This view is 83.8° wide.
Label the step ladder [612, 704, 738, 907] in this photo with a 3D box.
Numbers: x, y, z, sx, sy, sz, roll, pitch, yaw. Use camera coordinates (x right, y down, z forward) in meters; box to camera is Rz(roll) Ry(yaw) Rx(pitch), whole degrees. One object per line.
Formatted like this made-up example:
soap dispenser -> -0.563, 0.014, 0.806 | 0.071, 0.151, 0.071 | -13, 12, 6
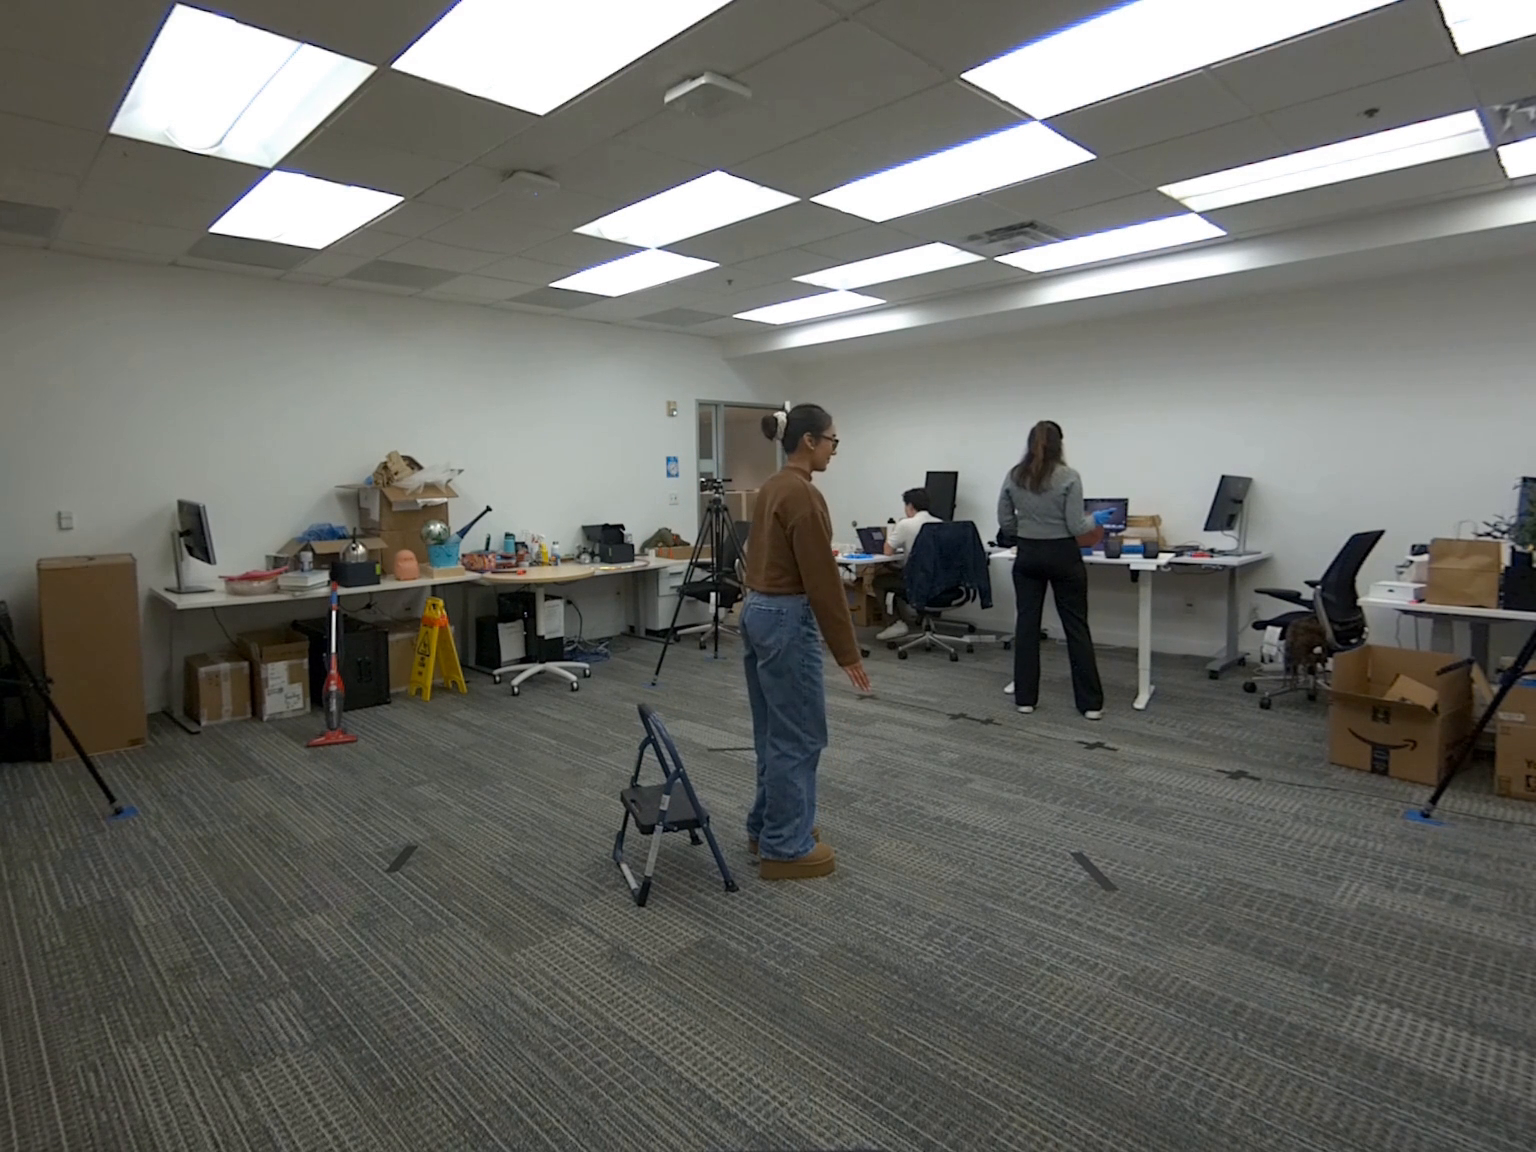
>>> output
step ladder -> -0.341, 0.760, 3.028 | 0.343, 0.604, 0.440 | -2, 5, -22
